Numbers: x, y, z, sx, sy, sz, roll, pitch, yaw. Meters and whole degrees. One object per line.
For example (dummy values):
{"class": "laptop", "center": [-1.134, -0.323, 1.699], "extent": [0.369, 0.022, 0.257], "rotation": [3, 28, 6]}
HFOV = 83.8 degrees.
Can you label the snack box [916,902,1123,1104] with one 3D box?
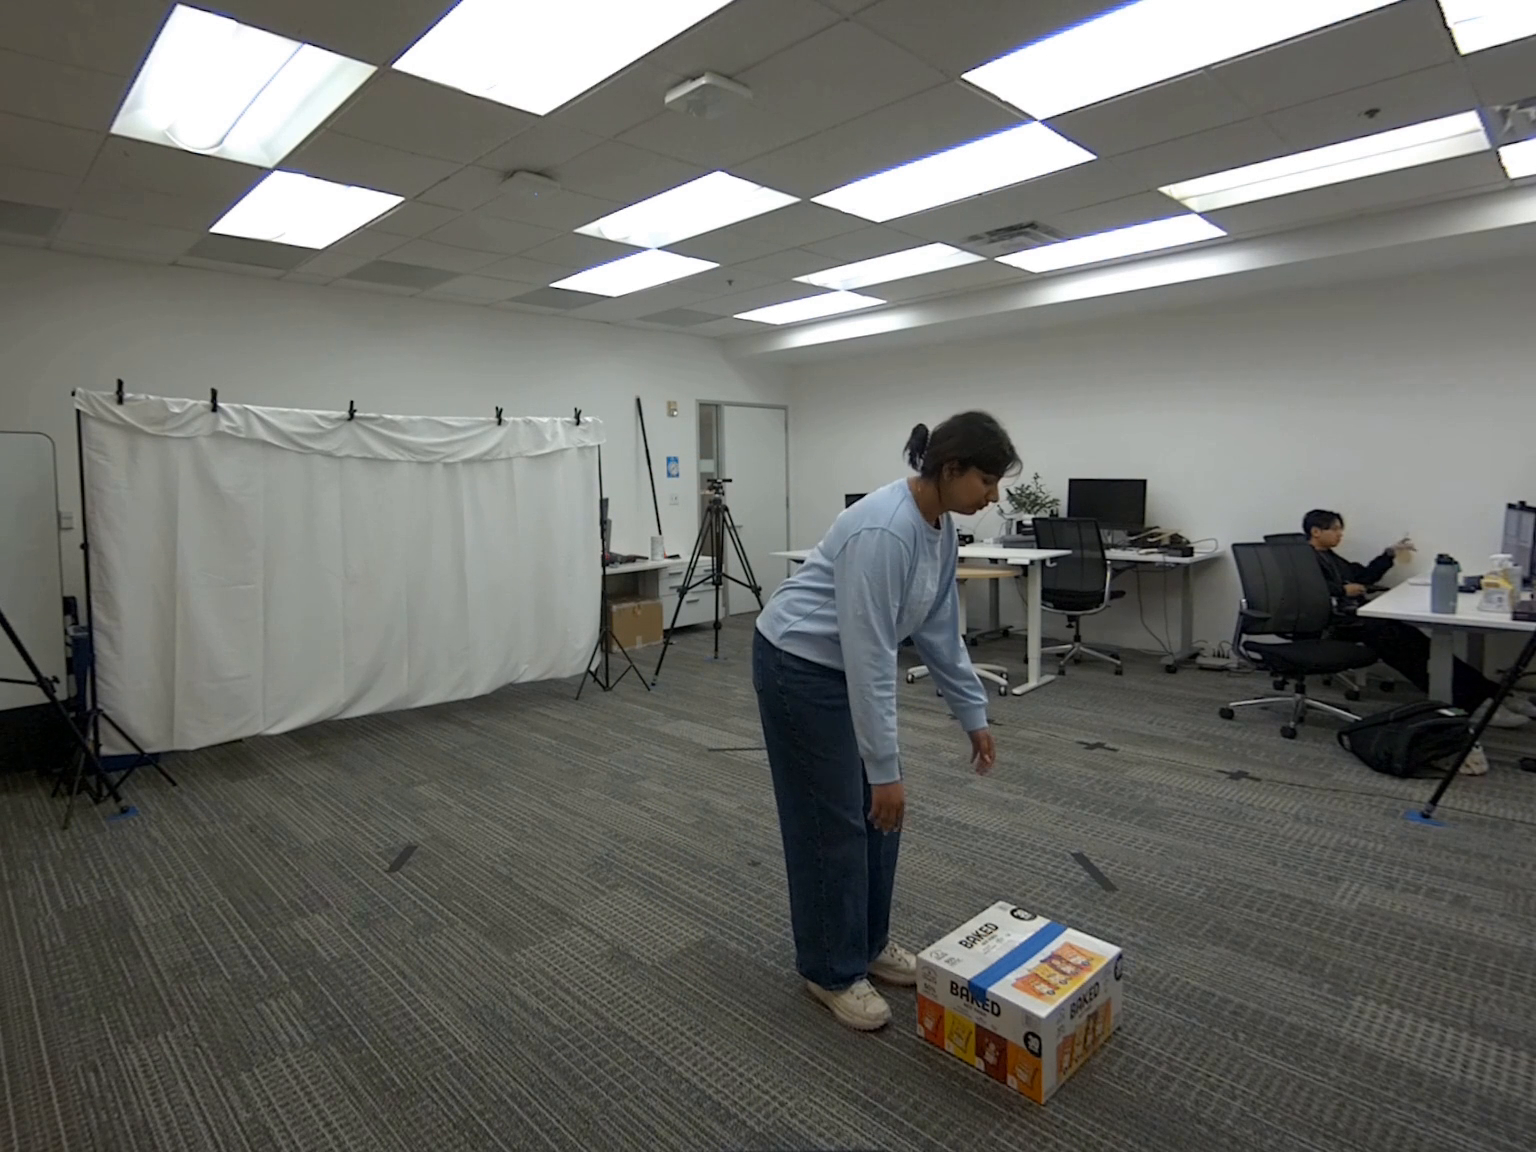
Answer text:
{"class": "snack box", "center": [0.637, 1.041, 2.140], "extent": [0.395, 0.205, 0.351], "rotation": [-7, 9, -43]}
